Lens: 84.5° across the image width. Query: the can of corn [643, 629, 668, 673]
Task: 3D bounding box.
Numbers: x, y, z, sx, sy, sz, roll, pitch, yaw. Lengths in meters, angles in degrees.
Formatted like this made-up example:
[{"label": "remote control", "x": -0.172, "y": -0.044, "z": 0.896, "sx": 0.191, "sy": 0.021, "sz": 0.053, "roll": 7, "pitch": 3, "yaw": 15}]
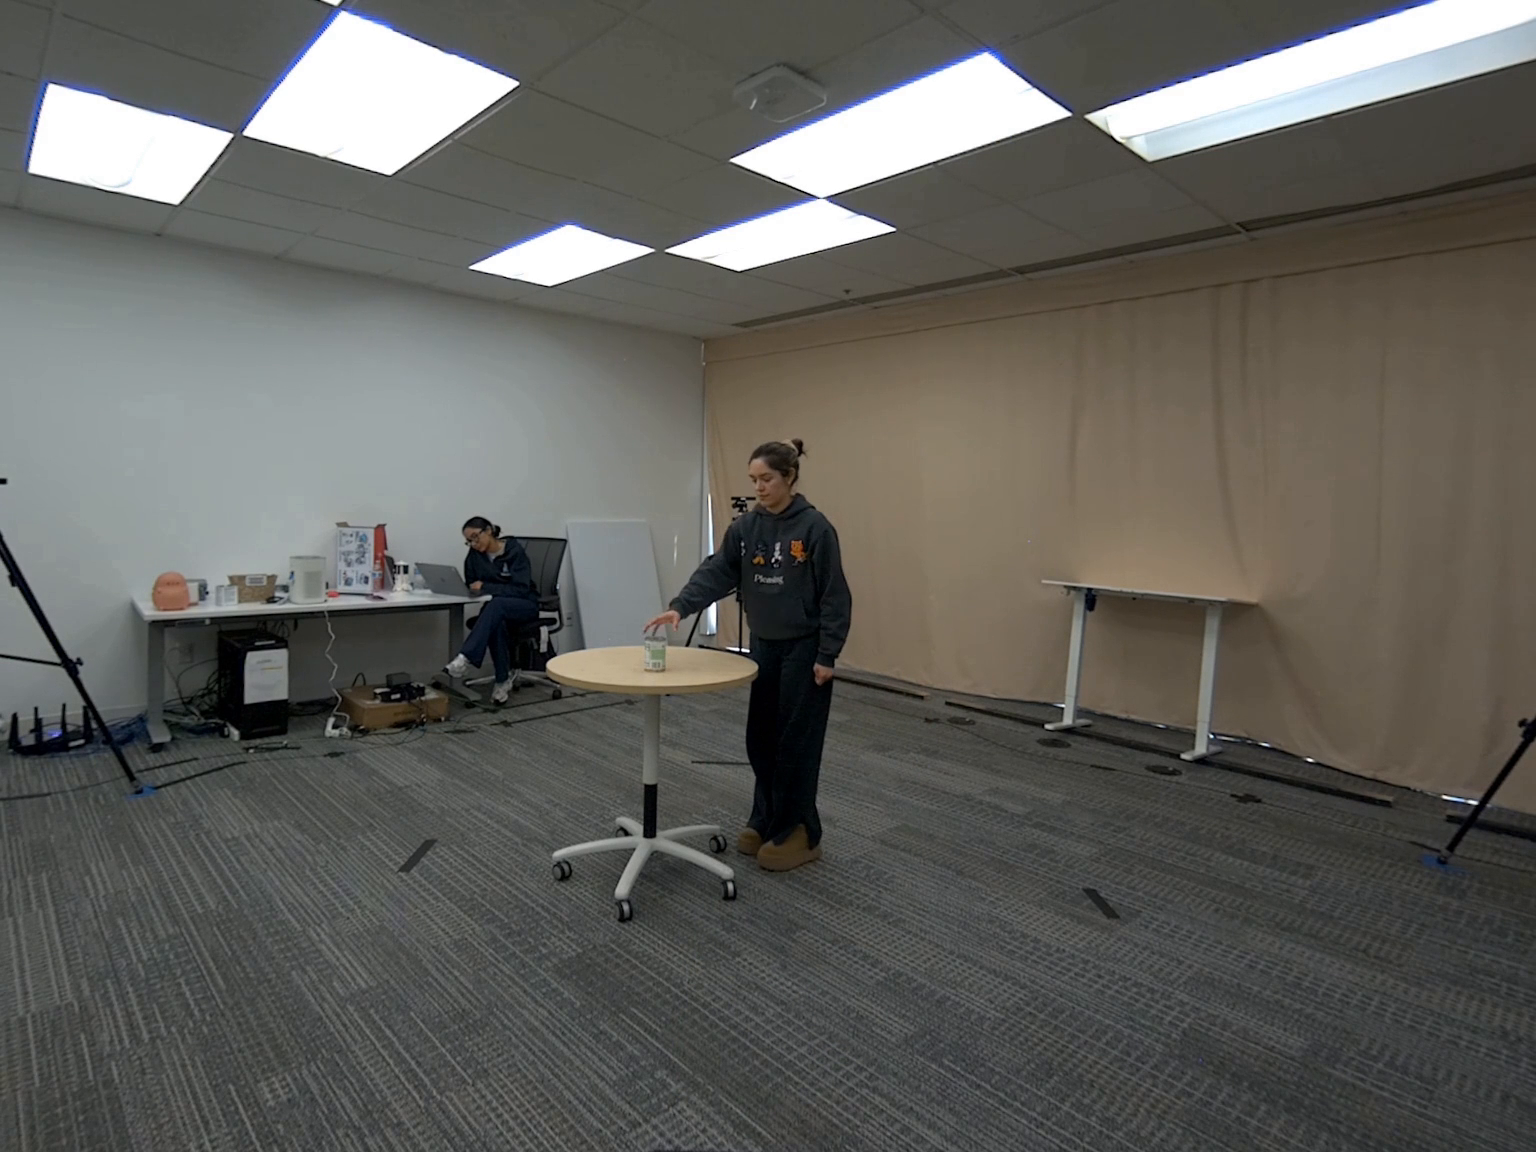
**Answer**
[{"label": "can of corn", "x": -0.410, "y": 0.276, "z": 2.951, "sx": 0.074, "sy": 0.111, "sz": 0.074, "roll": 1, "pitch": 1, "yaw": -1}]
